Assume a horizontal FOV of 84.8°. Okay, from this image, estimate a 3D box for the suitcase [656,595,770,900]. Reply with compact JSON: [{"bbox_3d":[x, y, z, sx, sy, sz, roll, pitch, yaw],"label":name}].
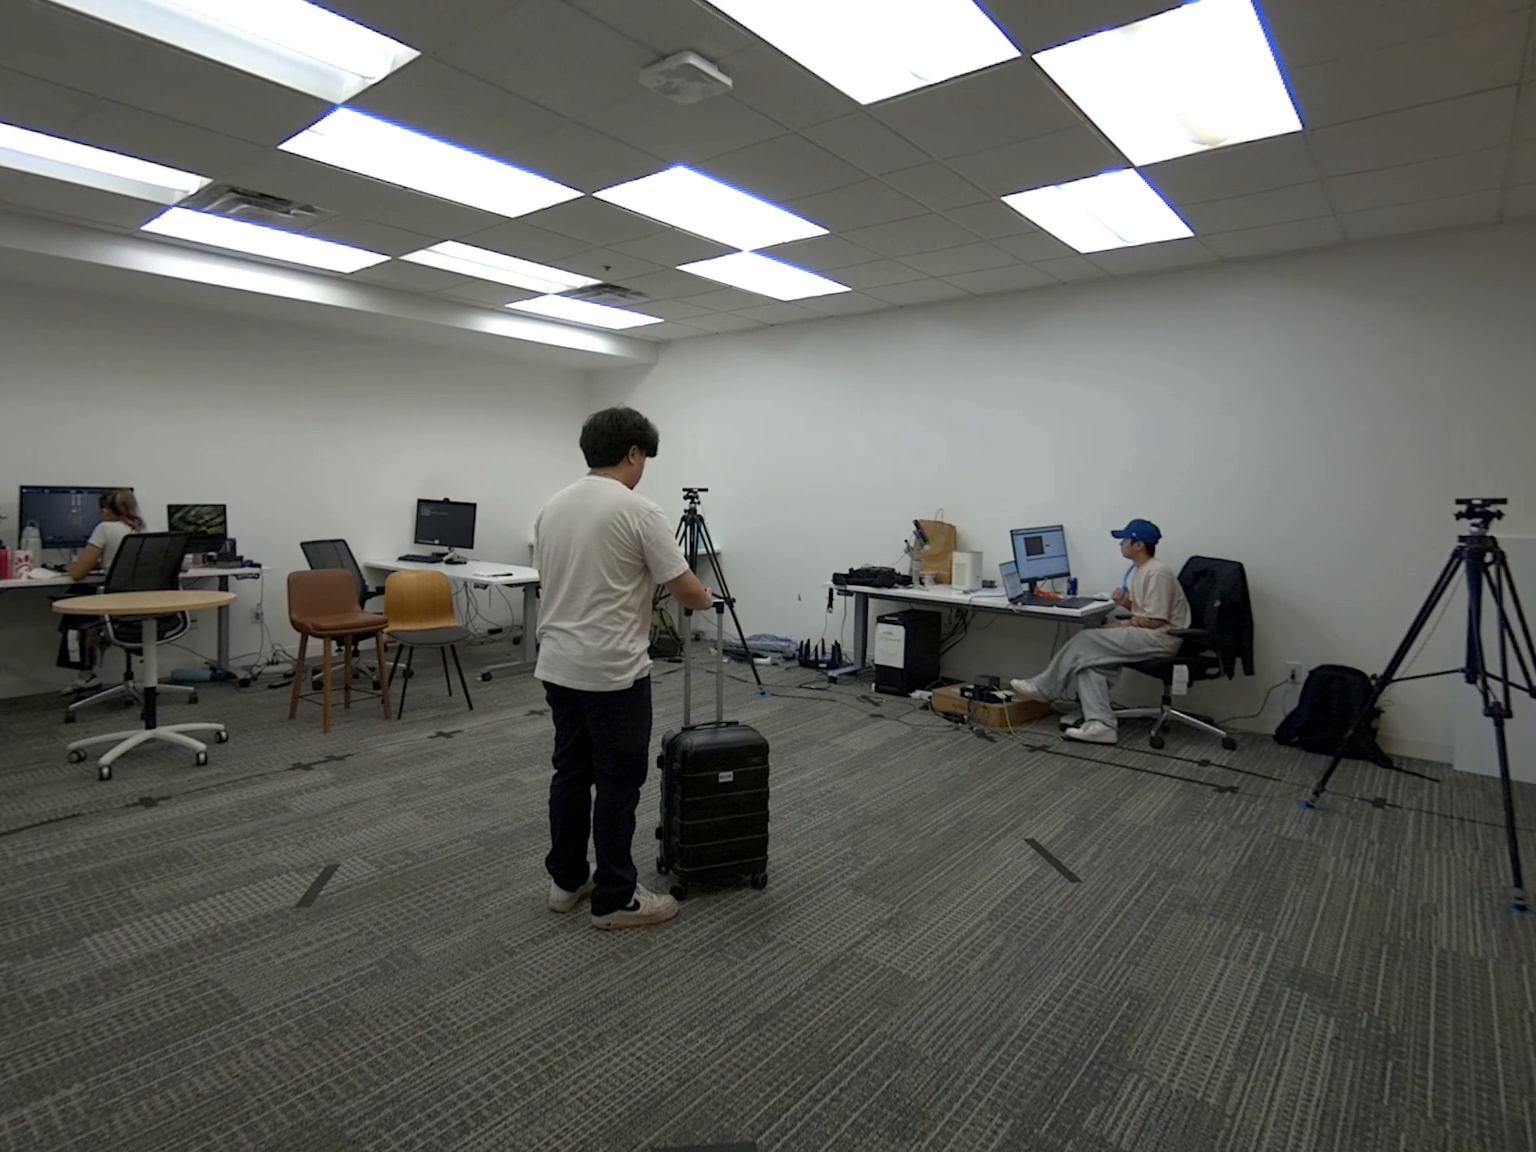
[{"bbox_3d":[-0.198,0.607,3.012,0.376,0.974,0.263,-2,5,-21],"label":"suitcase"}]
